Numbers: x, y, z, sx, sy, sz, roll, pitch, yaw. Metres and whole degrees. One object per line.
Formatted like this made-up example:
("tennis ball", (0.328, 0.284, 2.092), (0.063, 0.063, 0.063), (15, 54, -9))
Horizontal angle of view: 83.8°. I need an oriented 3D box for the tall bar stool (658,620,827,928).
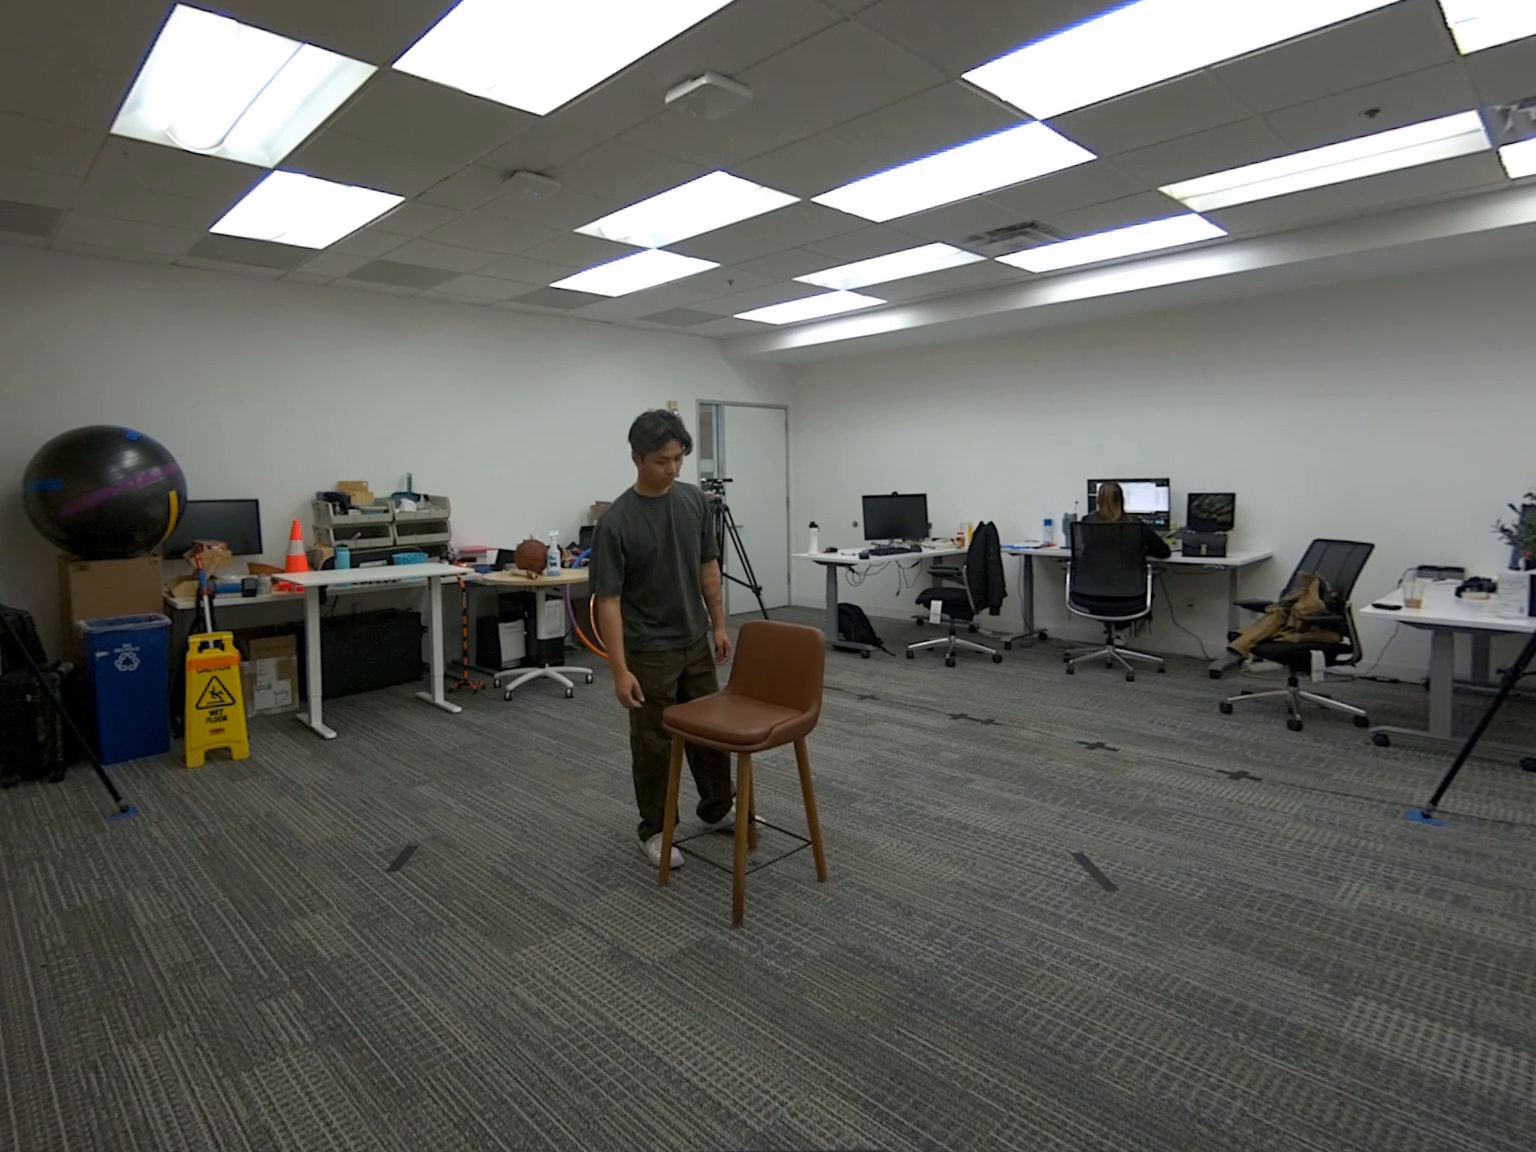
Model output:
("tall bar stool", (-0.077, 0.630, 2.923), (0.455, 0.887, 0.471), (-3, 5, -44))
